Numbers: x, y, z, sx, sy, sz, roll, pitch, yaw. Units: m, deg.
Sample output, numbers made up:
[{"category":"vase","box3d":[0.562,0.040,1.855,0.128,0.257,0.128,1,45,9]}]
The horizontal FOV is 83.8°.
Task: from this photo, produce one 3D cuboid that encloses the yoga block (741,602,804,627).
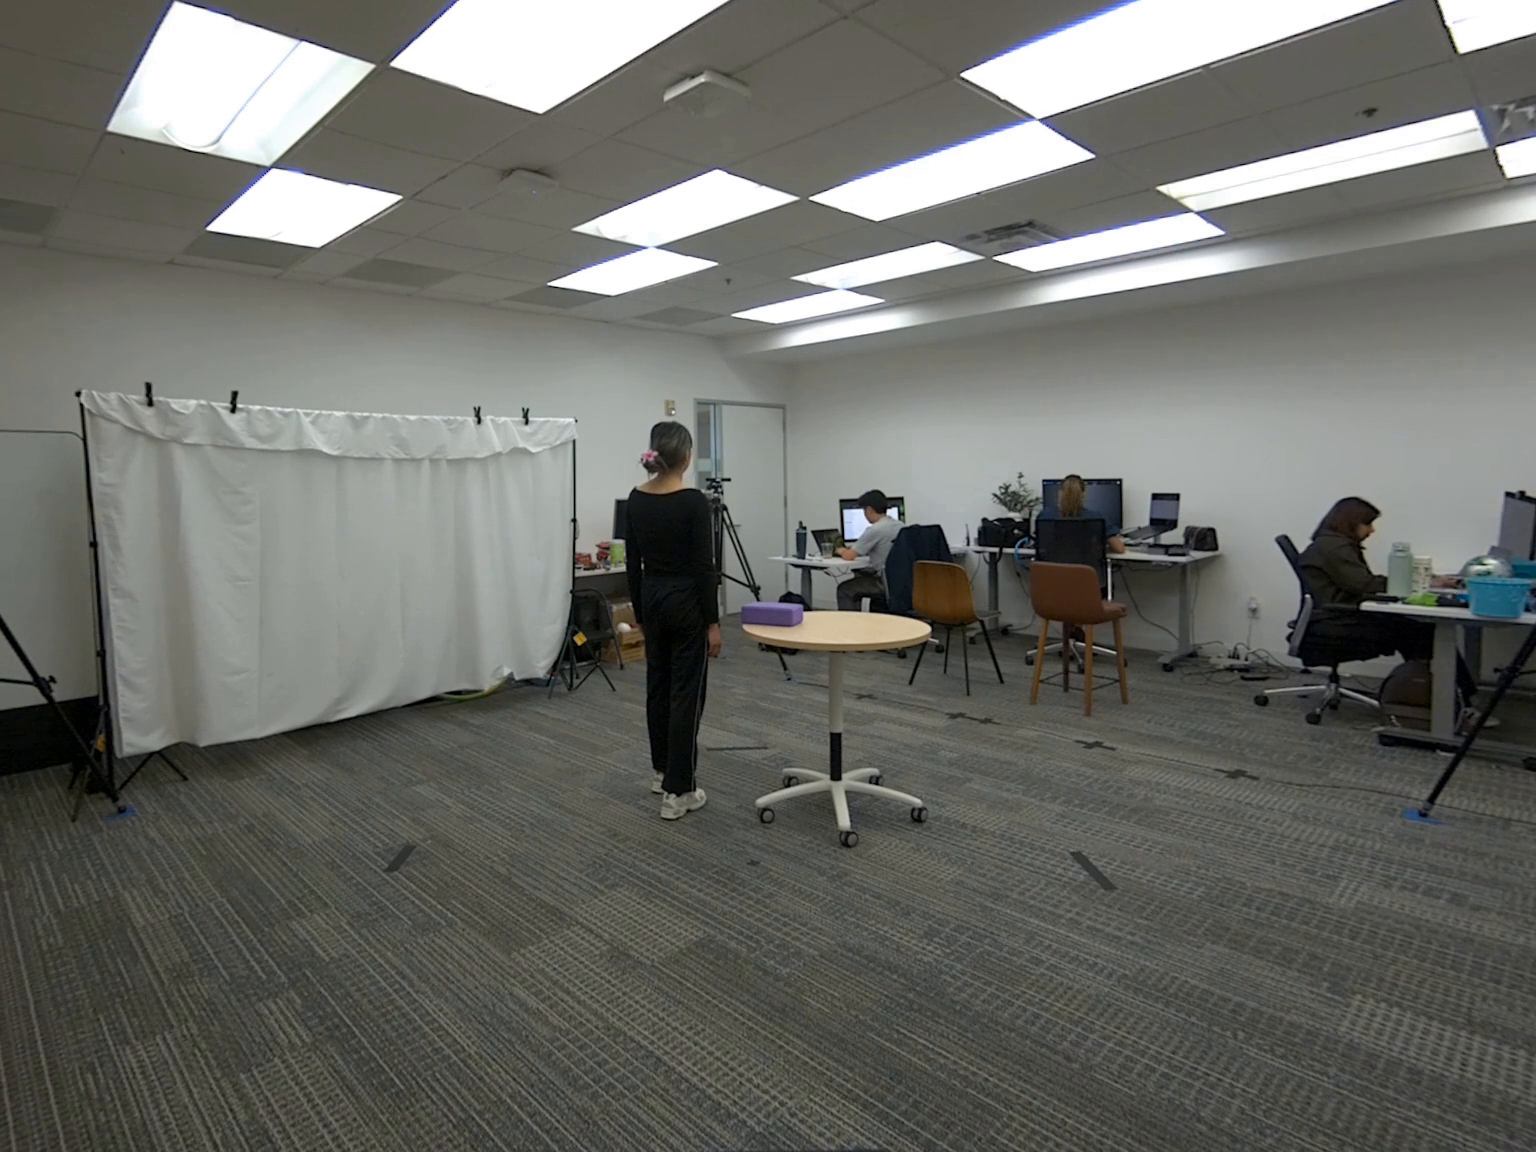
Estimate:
[{"category":"yoga block","box3d":[0.026,0.161,3.600,0.235,0.076,0.146,3,6,25]}]
